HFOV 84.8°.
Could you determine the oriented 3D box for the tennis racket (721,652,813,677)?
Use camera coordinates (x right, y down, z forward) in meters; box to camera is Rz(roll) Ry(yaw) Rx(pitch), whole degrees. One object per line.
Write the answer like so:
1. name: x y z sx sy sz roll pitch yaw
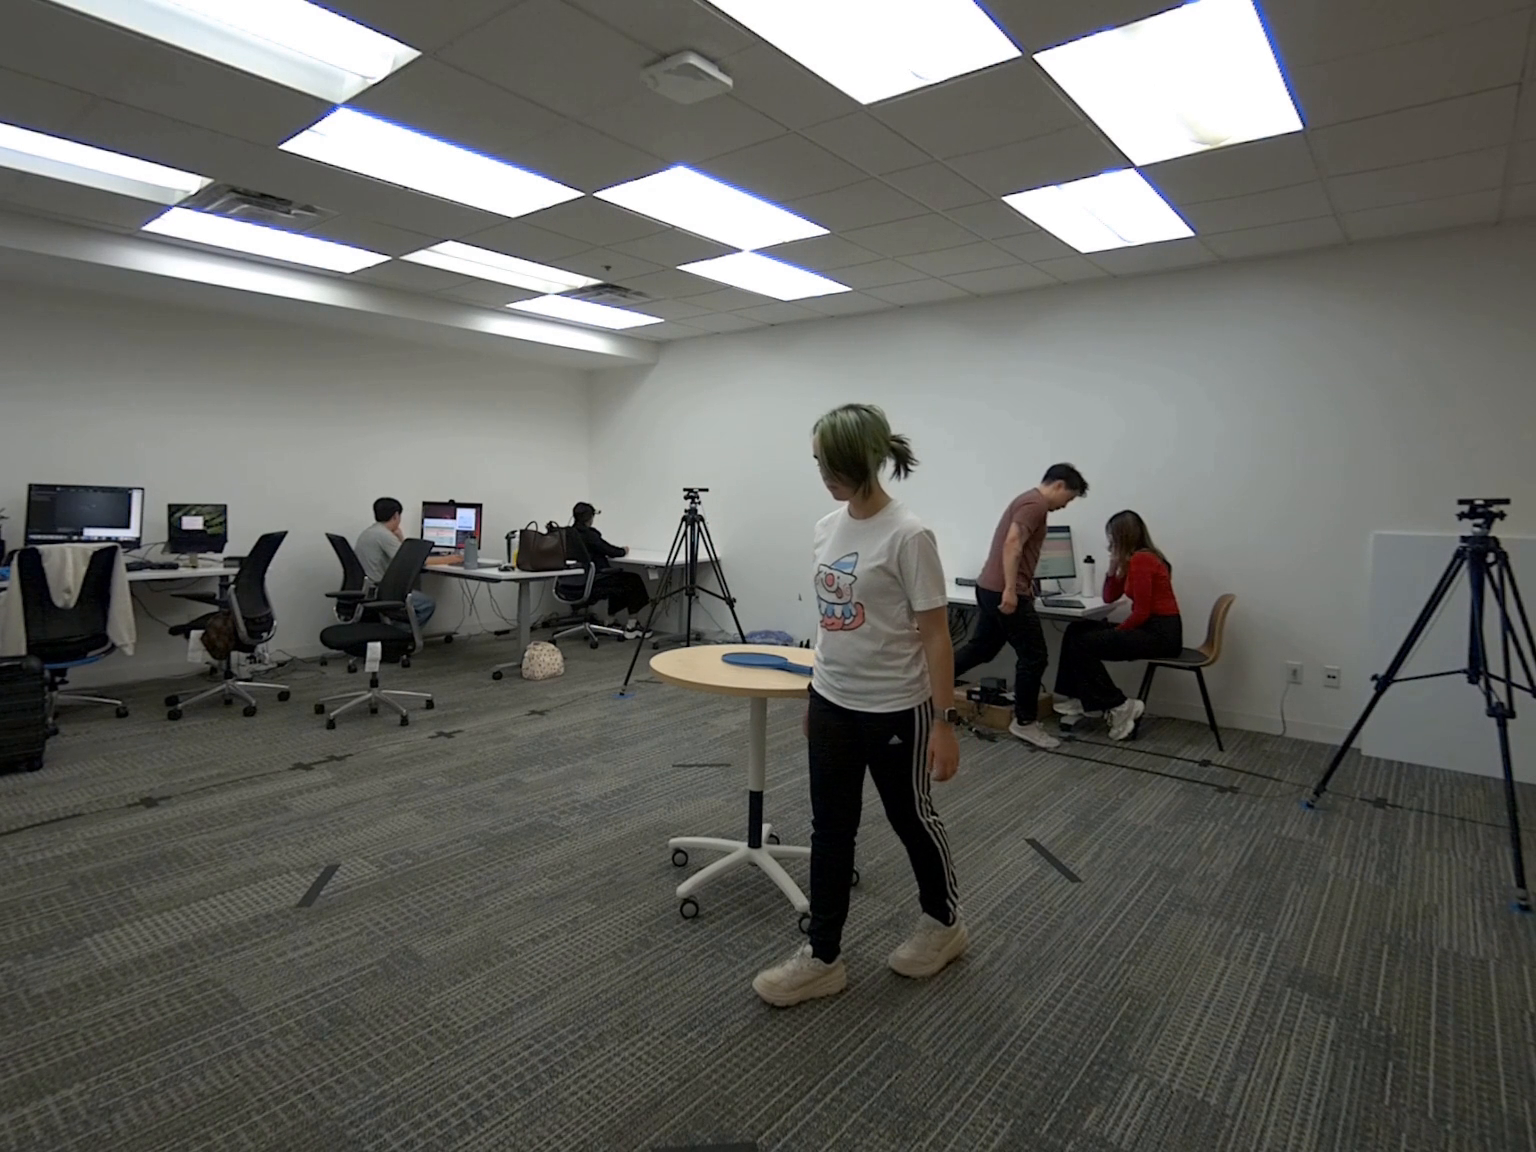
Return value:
1. tennis racket: -0.003 0.300 2.949 0.207 0.031 0.447 -4 6 -41
